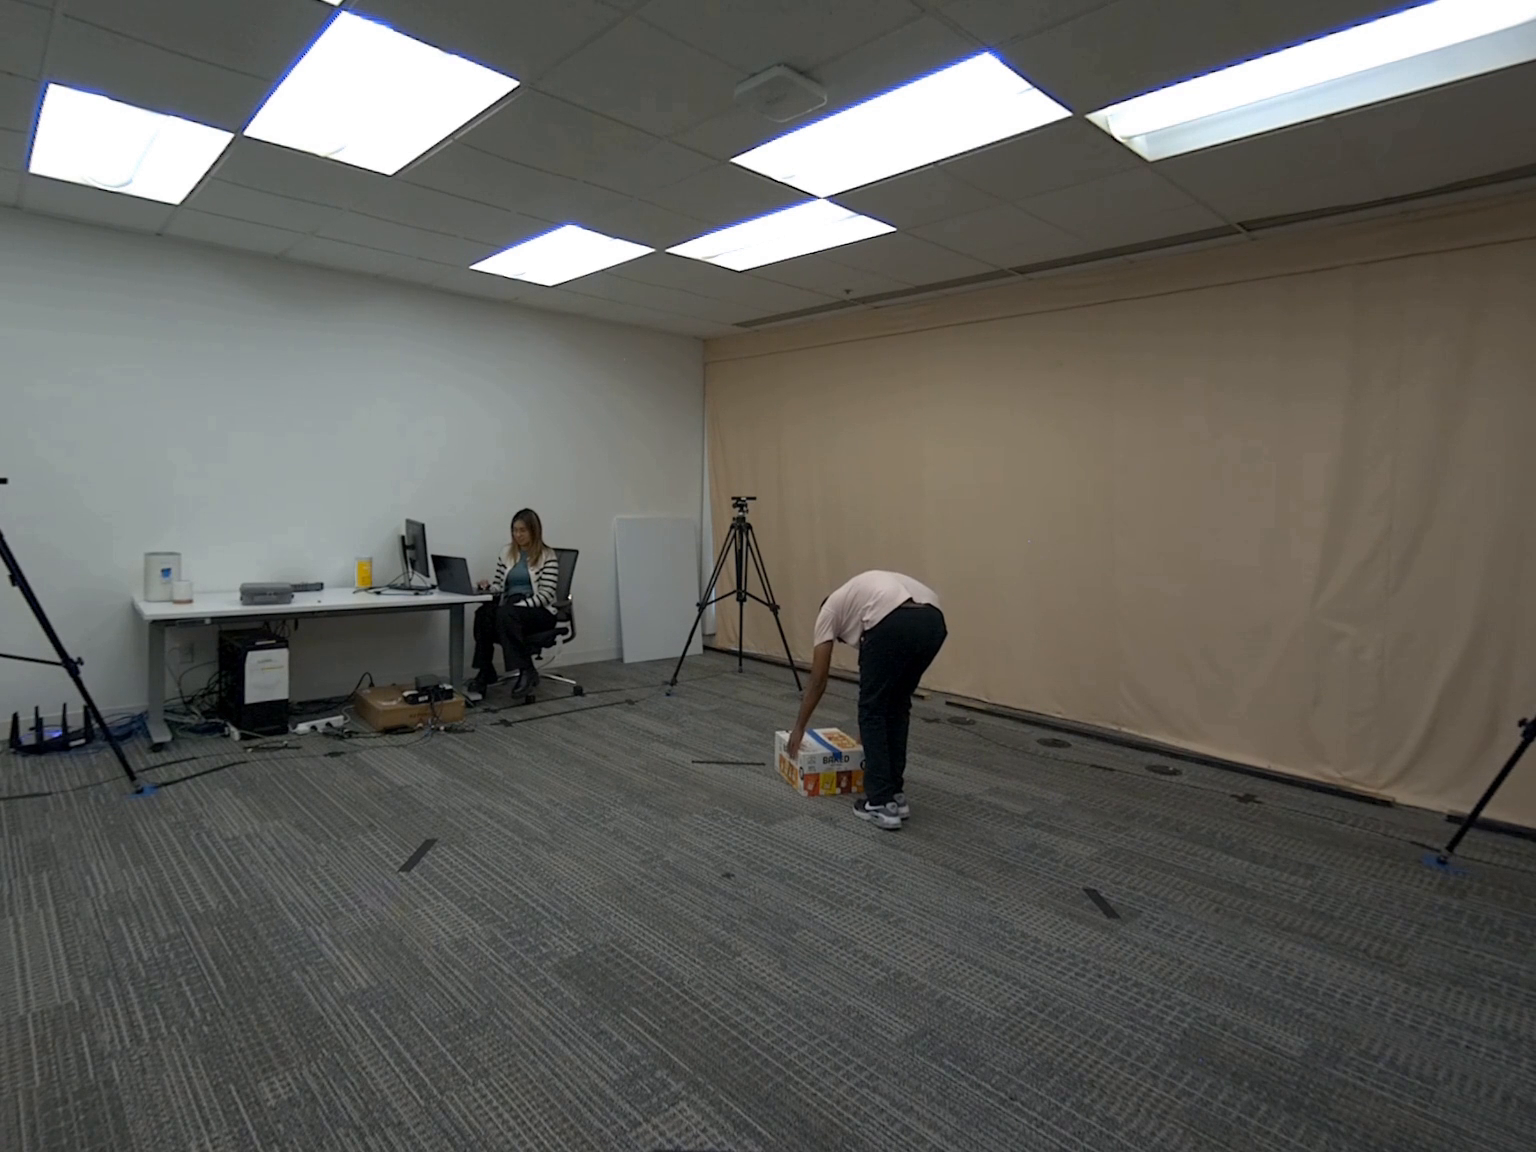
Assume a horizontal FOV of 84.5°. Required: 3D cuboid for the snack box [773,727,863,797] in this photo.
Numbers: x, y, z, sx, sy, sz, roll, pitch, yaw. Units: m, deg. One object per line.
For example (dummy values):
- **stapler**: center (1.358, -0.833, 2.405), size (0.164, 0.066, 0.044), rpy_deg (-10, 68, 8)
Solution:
- **snack box**: center (0.243, 0.920, 4.208), size (0.336, 0.205, 0.412), rpy_deg (0, 5, -17)
